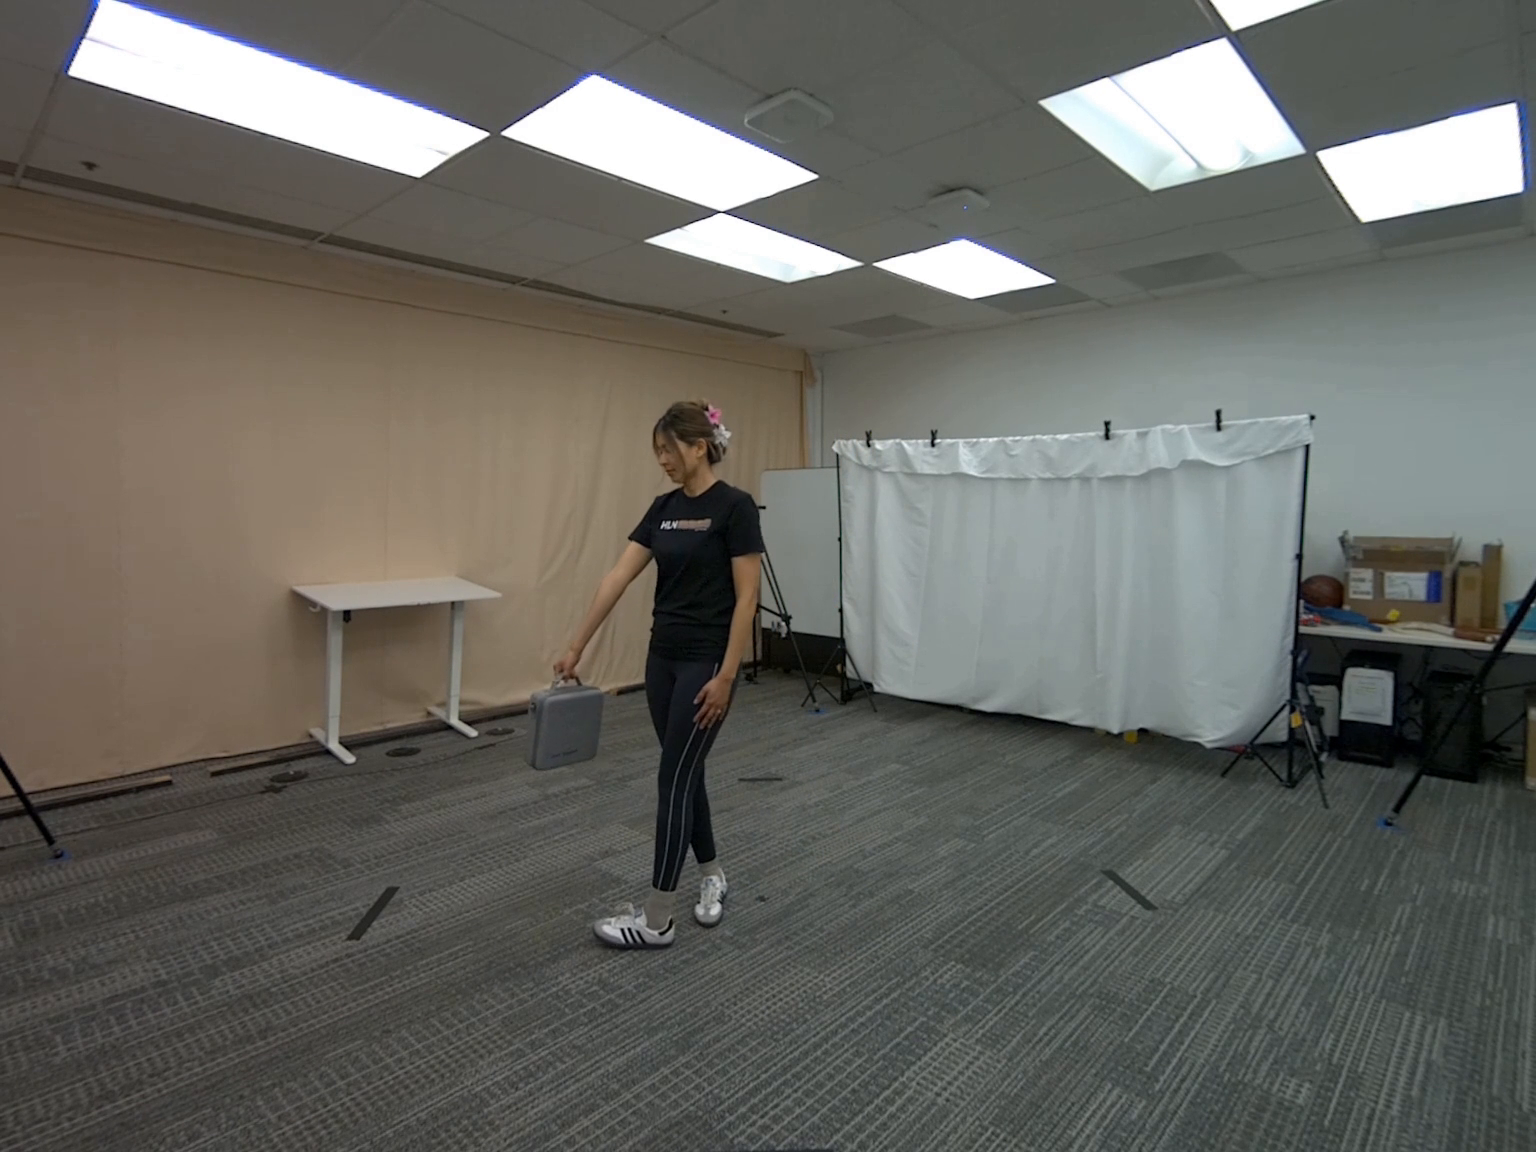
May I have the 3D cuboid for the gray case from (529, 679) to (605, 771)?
[{"bbox_3d":[-0.672,0.494,2.788,0.108,0.260,0.249,12,7,39],"label":"gray case"}]
